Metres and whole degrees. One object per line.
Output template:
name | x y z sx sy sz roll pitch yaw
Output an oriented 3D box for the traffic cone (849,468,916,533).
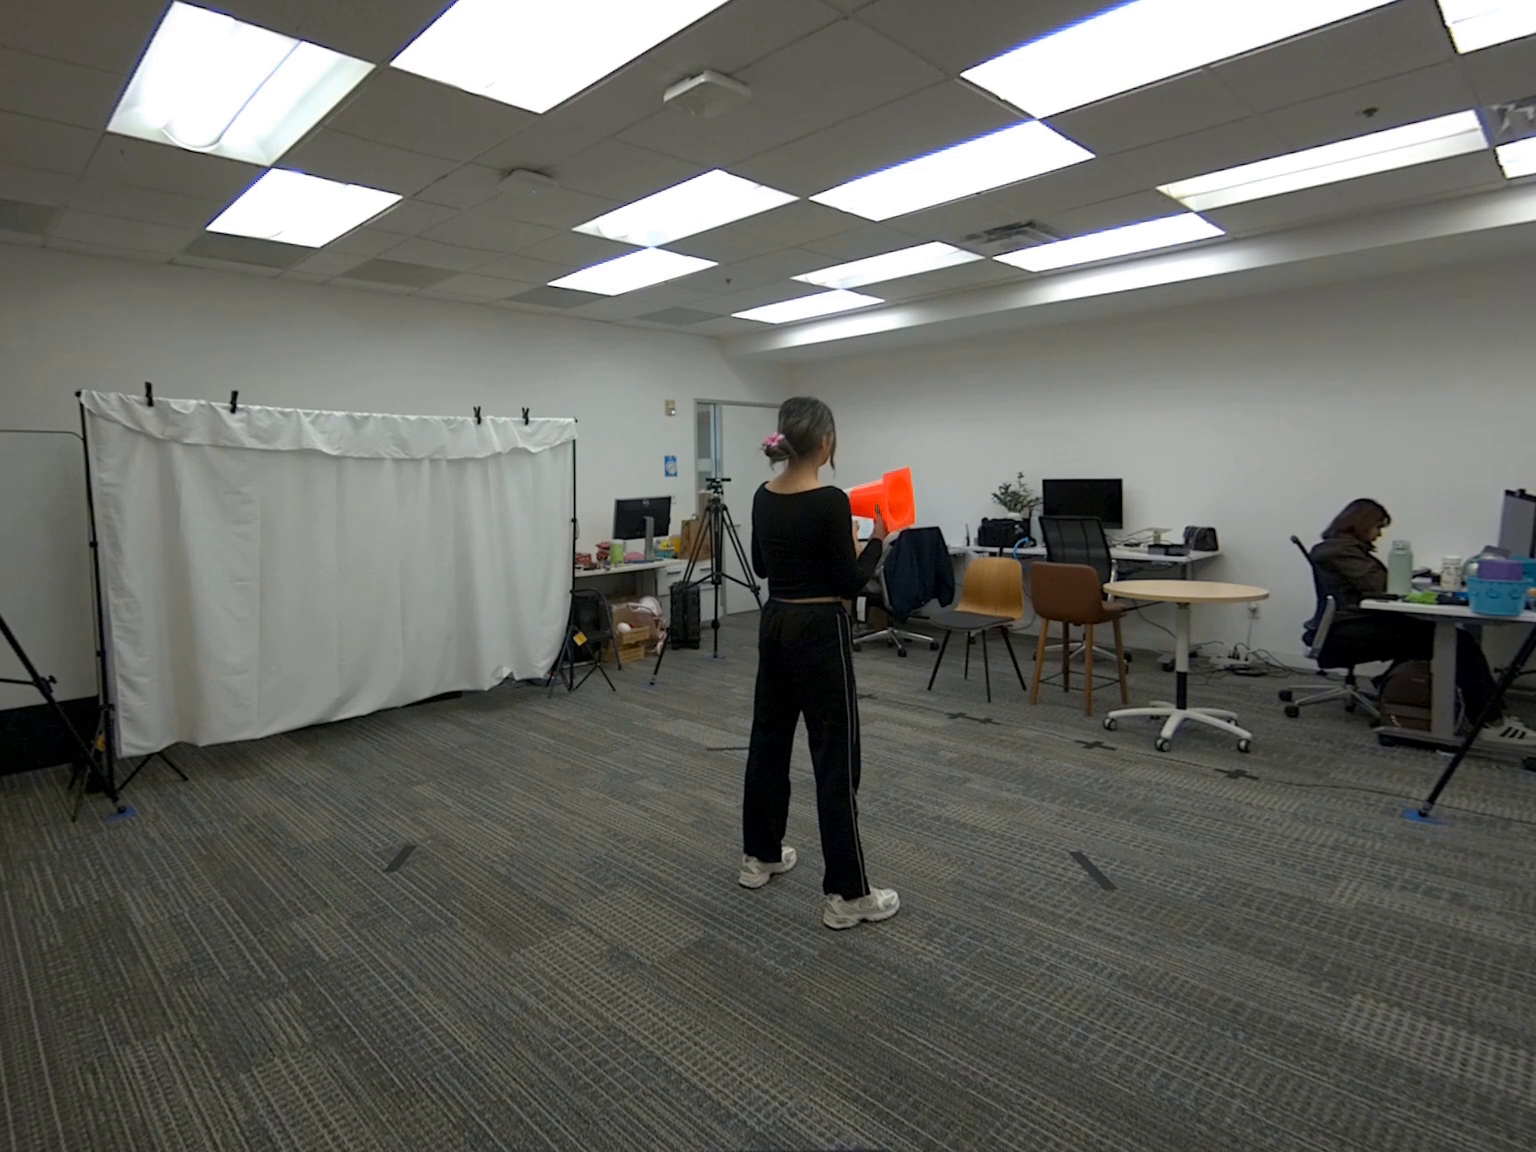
traffic cone | 0.297 -0.263 2.997 0.395 0.203 0.199 2 14 38
